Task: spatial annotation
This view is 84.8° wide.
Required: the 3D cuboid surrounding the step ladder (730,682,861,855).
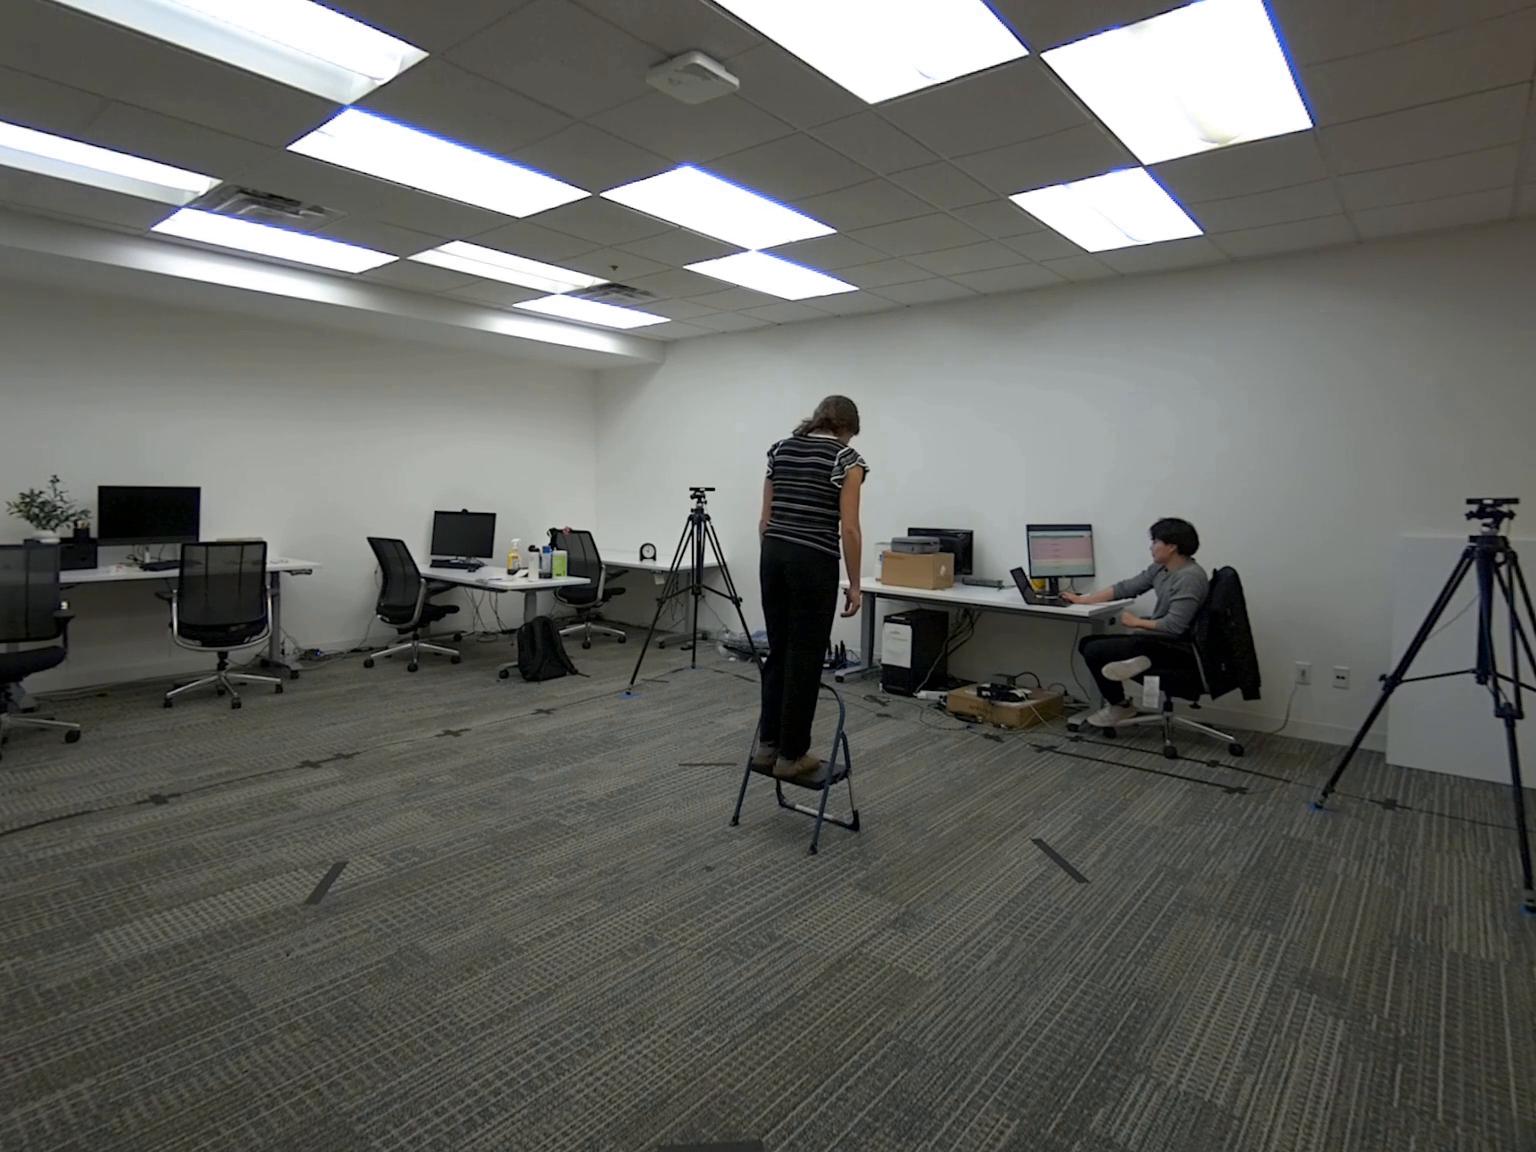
[{"bbox_3d":[0.113,0.734,3.494,0.445,0.604,0.339,4,4,39],"label":"step ladder"}]
